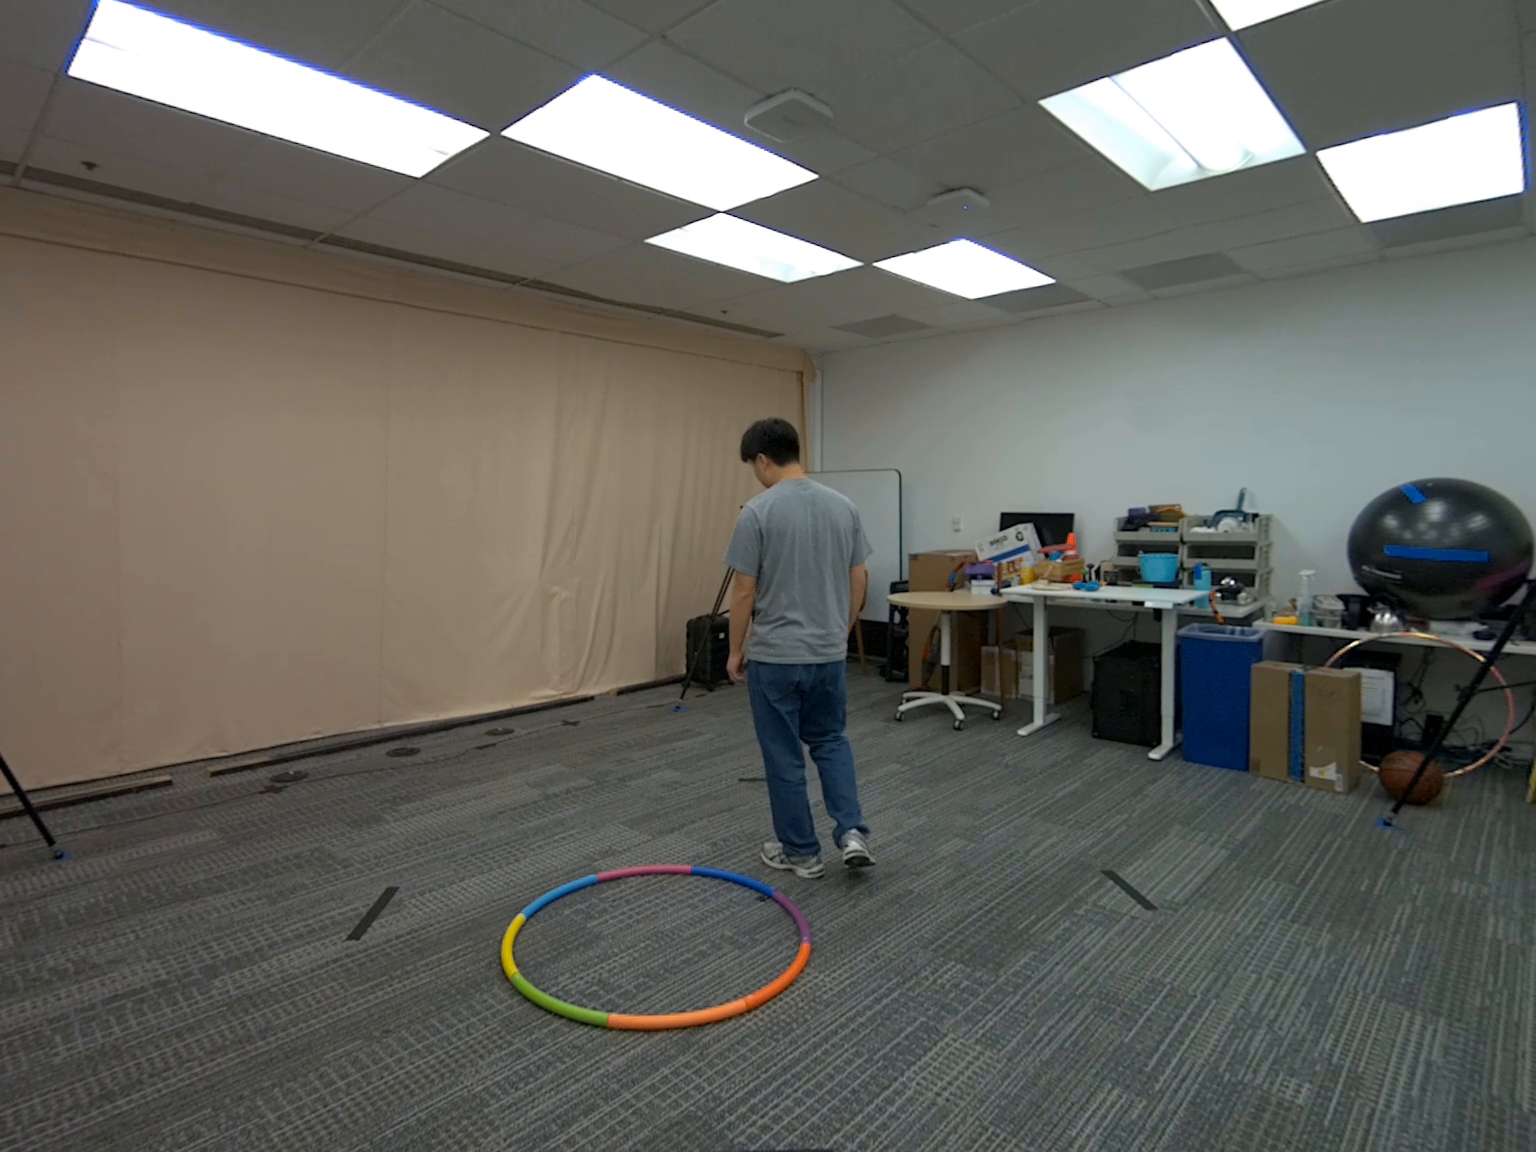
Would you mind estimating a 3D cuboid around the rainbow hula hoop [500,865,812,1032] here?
[{"bbox_3d":[-0.353,1.140,2.722,0.978,0.035,0.982,-1,5,-2],"label":"rainbow hula hoop"}]
